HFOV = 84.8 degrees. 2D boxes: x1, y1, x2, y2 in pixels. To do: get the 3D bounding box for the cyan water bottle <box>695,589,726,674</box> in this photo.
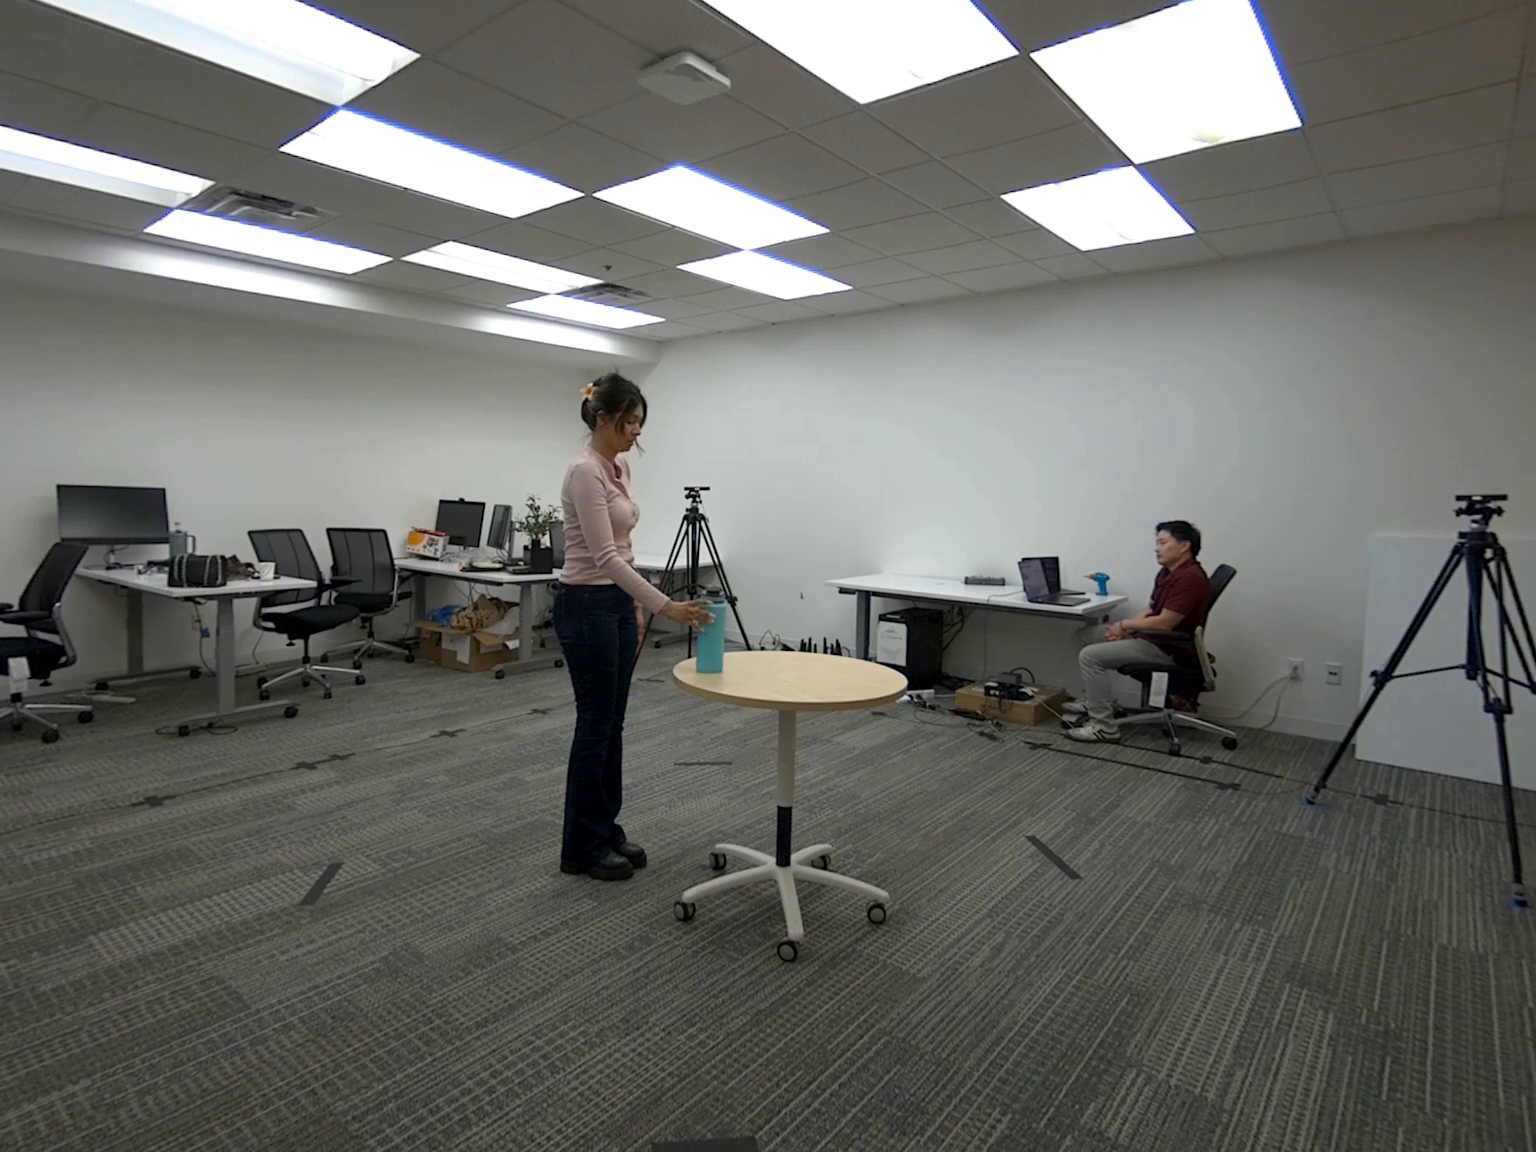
[{"bbox_3d":[-0.198,0.173,2.796,0.092,0.283,0.092,0,2,-2],"label":"cyan water bottle"}]
